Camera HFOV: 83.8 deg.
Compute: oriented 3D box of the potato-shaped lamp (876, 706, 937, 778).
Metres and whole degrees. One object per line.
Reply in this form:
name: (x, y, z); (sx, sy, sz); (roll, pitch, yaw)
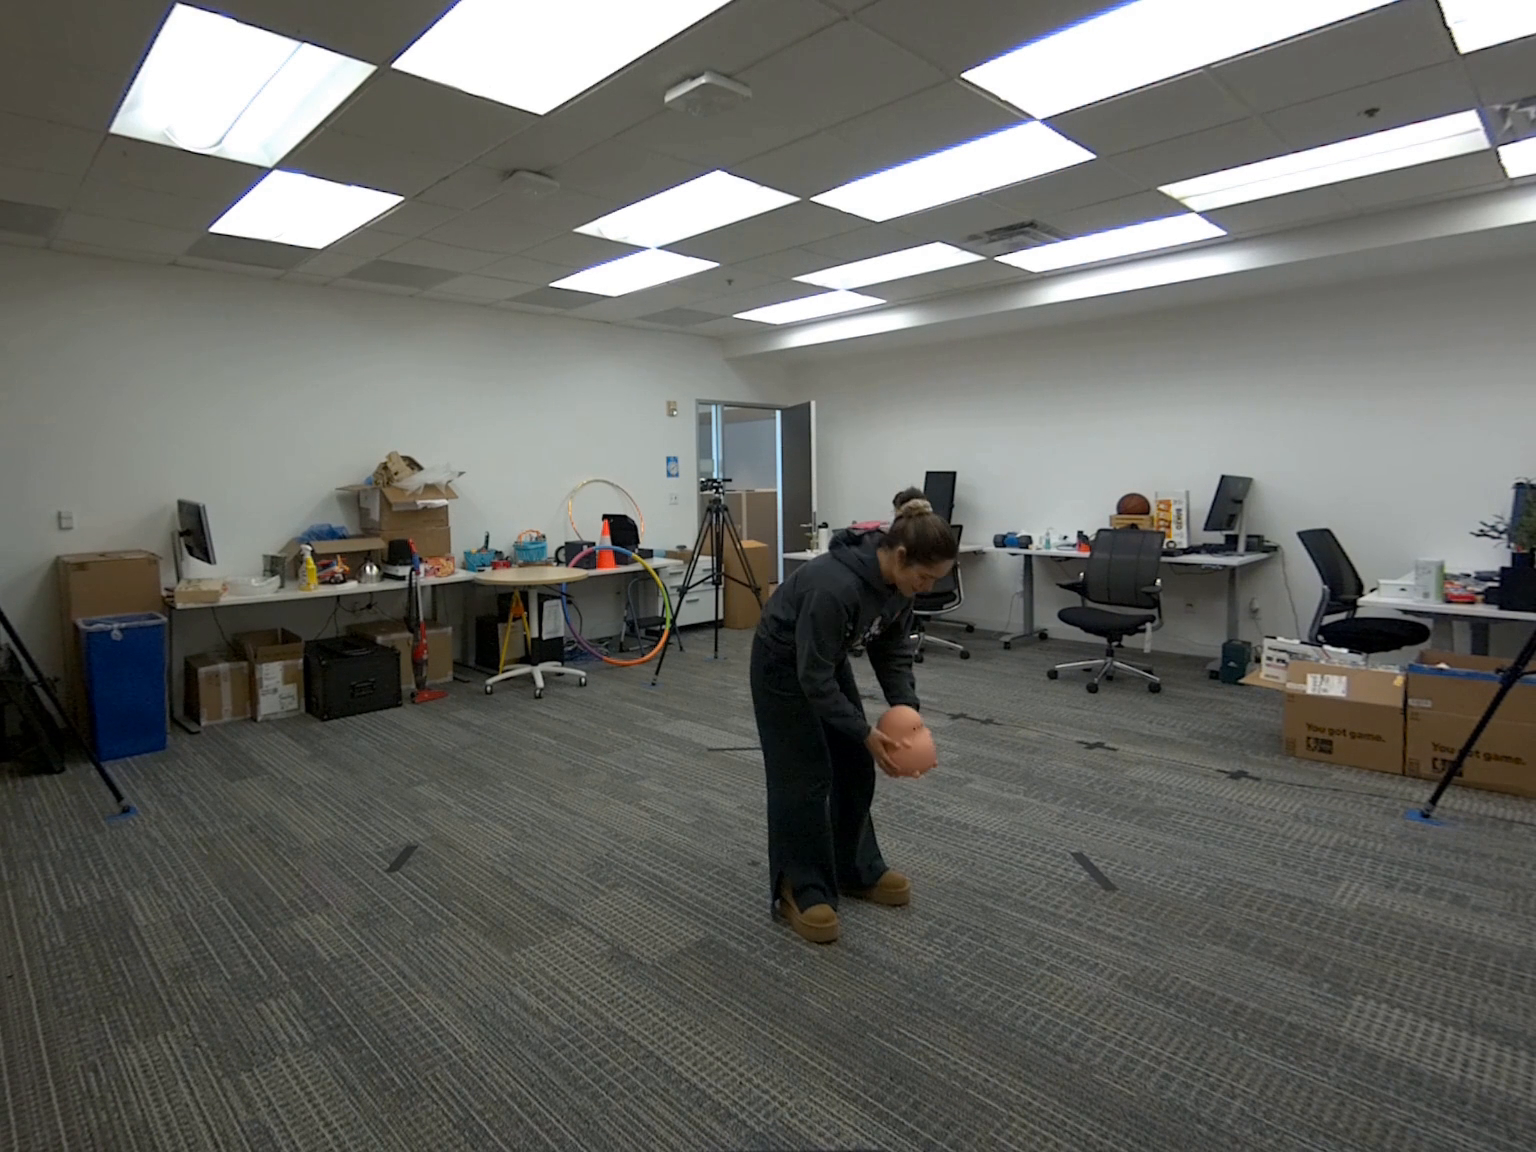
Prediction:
potato-shaped lamp: (0.410, 0.488, 2.556); (0.176, 0.197, 0.161); (-7, 4, 45)
